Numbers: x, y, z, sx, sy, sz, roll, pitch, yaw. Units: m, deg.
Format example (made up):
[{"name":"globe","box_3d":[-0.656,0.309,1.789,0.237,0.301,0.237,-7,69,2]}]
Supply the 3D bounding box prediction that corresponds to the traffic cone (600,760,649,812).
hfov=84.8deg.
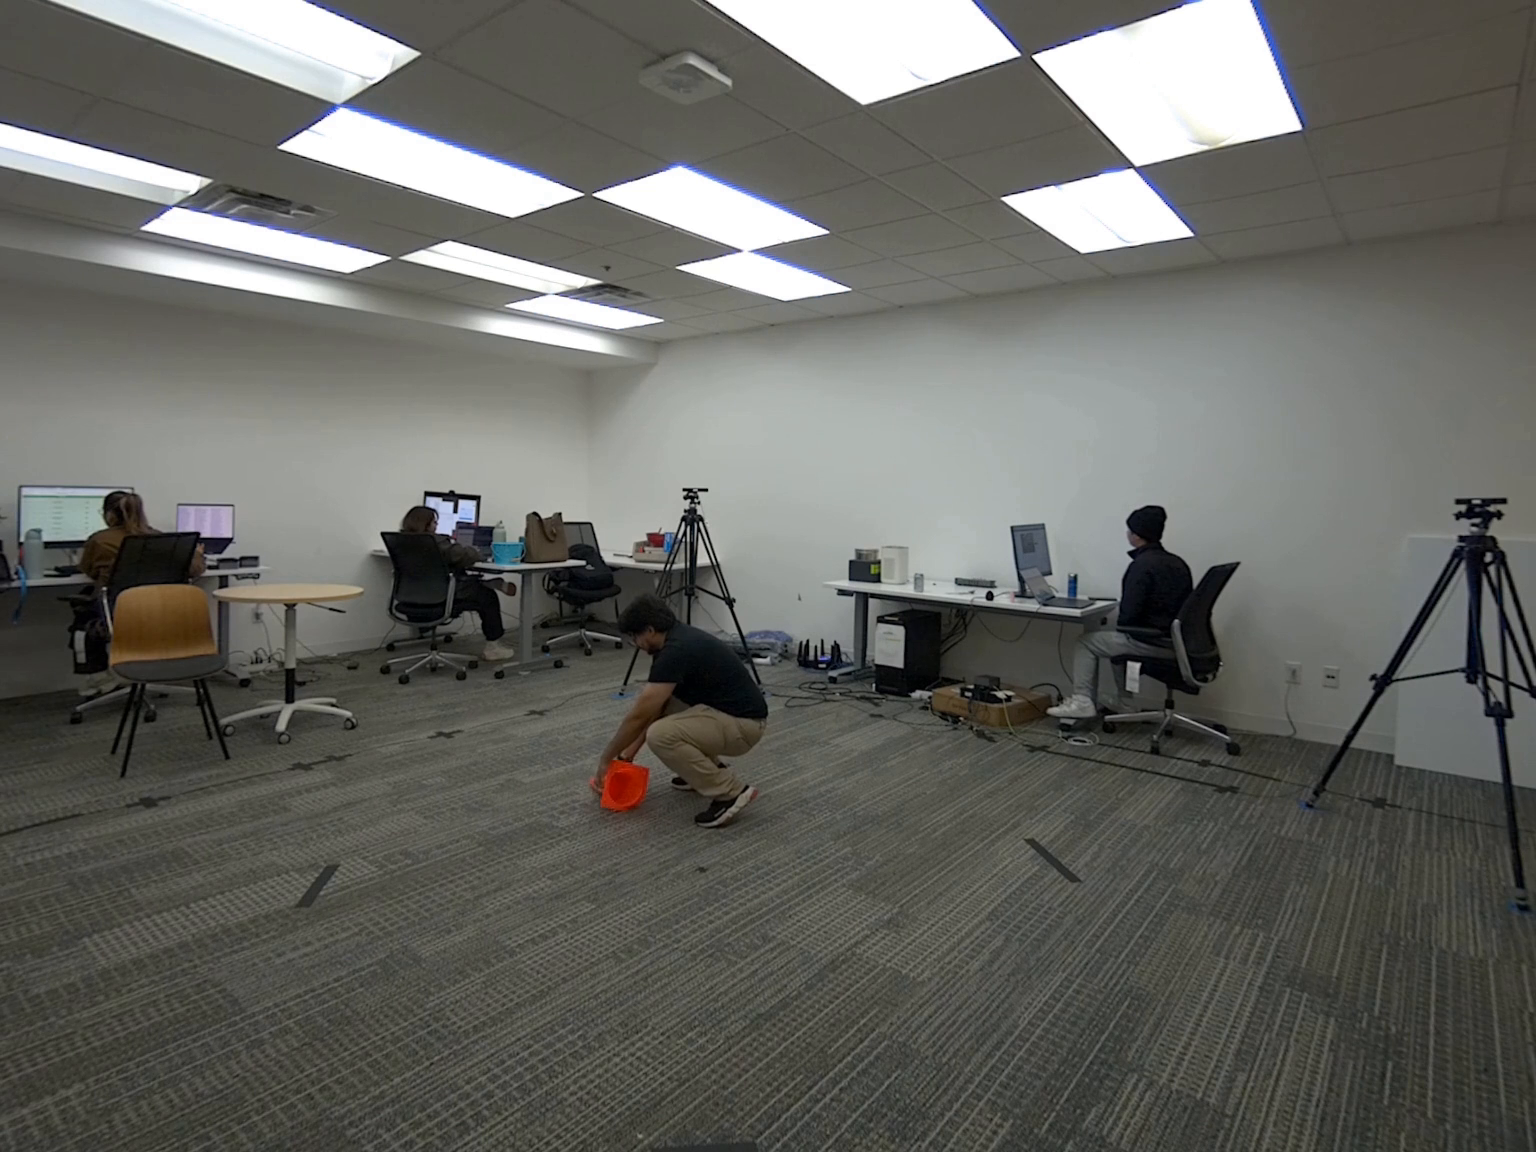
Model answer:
[{"name":"traffic cone","box_3d":[-0.737,0.940,3.839,0.197,0.207,0.392,26,-20,-27]}]
